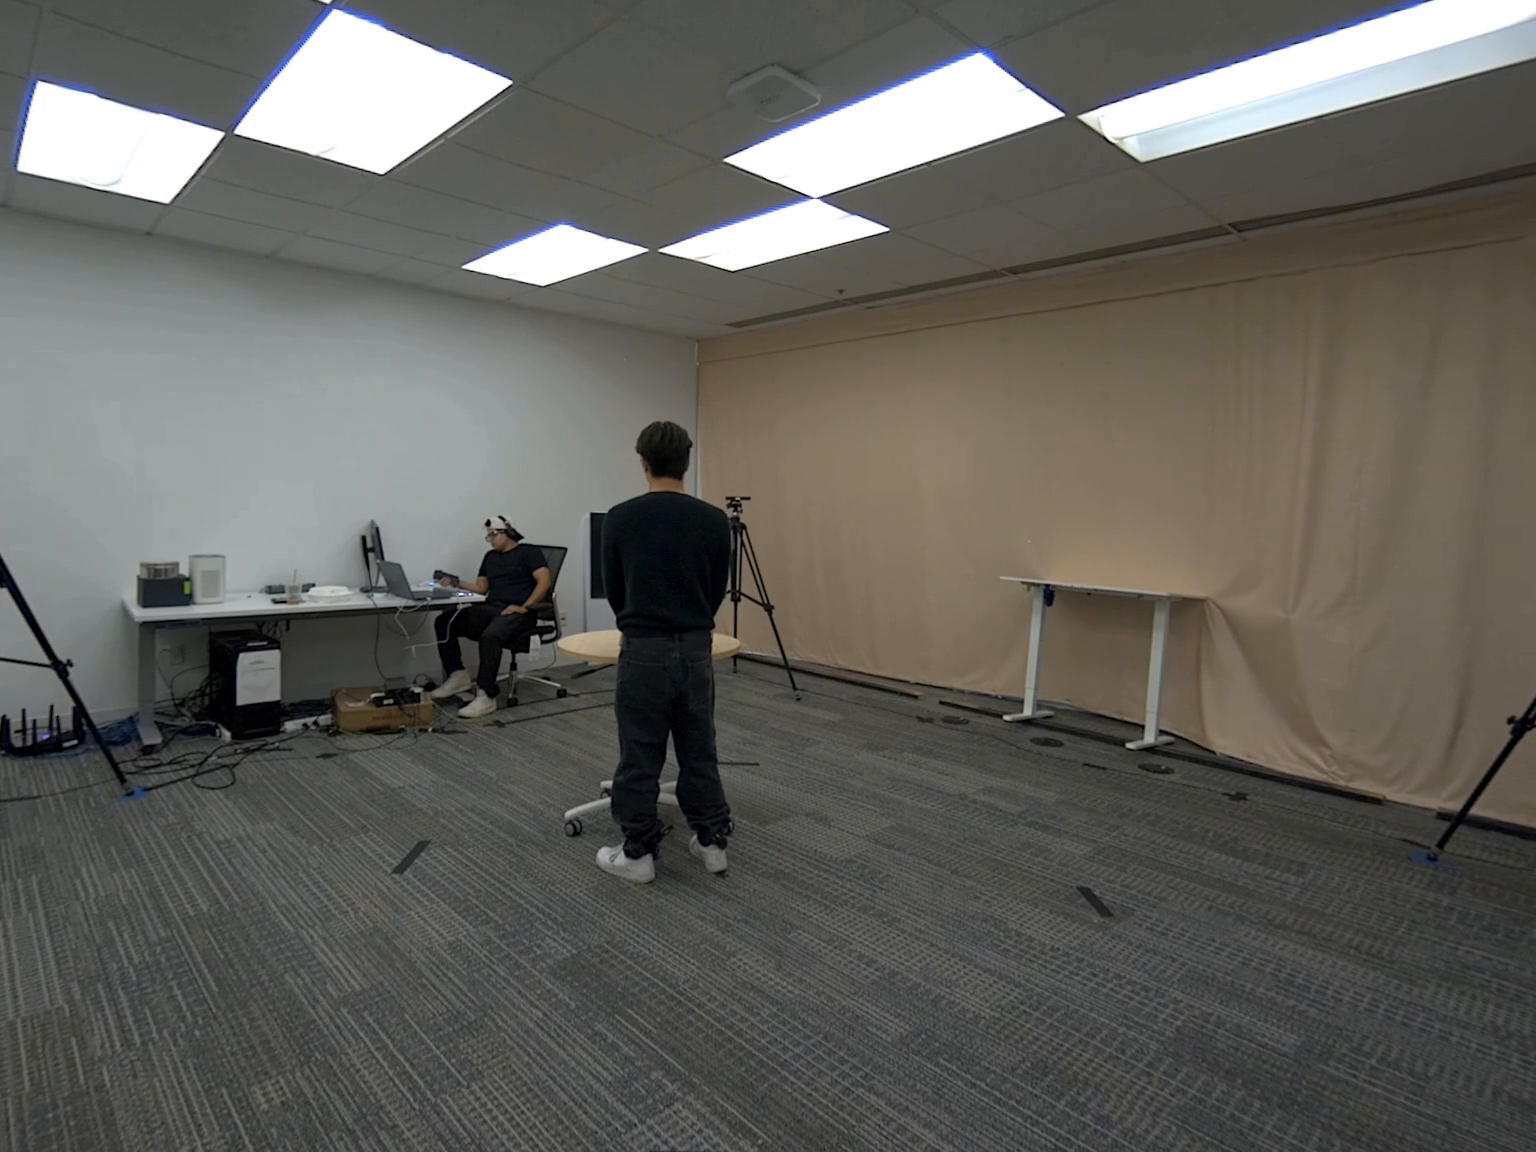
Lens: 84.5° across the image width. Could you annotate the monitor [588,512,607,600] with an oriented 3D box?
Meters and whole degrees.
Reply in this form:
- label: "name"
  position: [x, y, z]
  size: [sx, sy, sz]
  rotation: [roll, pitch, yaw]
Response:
- label: "monitor"
  position: [-0.443, 0.018, 3.396]
  size: [0.536, 0.523, 0.188]
  rotation: [2, -1, -7]
